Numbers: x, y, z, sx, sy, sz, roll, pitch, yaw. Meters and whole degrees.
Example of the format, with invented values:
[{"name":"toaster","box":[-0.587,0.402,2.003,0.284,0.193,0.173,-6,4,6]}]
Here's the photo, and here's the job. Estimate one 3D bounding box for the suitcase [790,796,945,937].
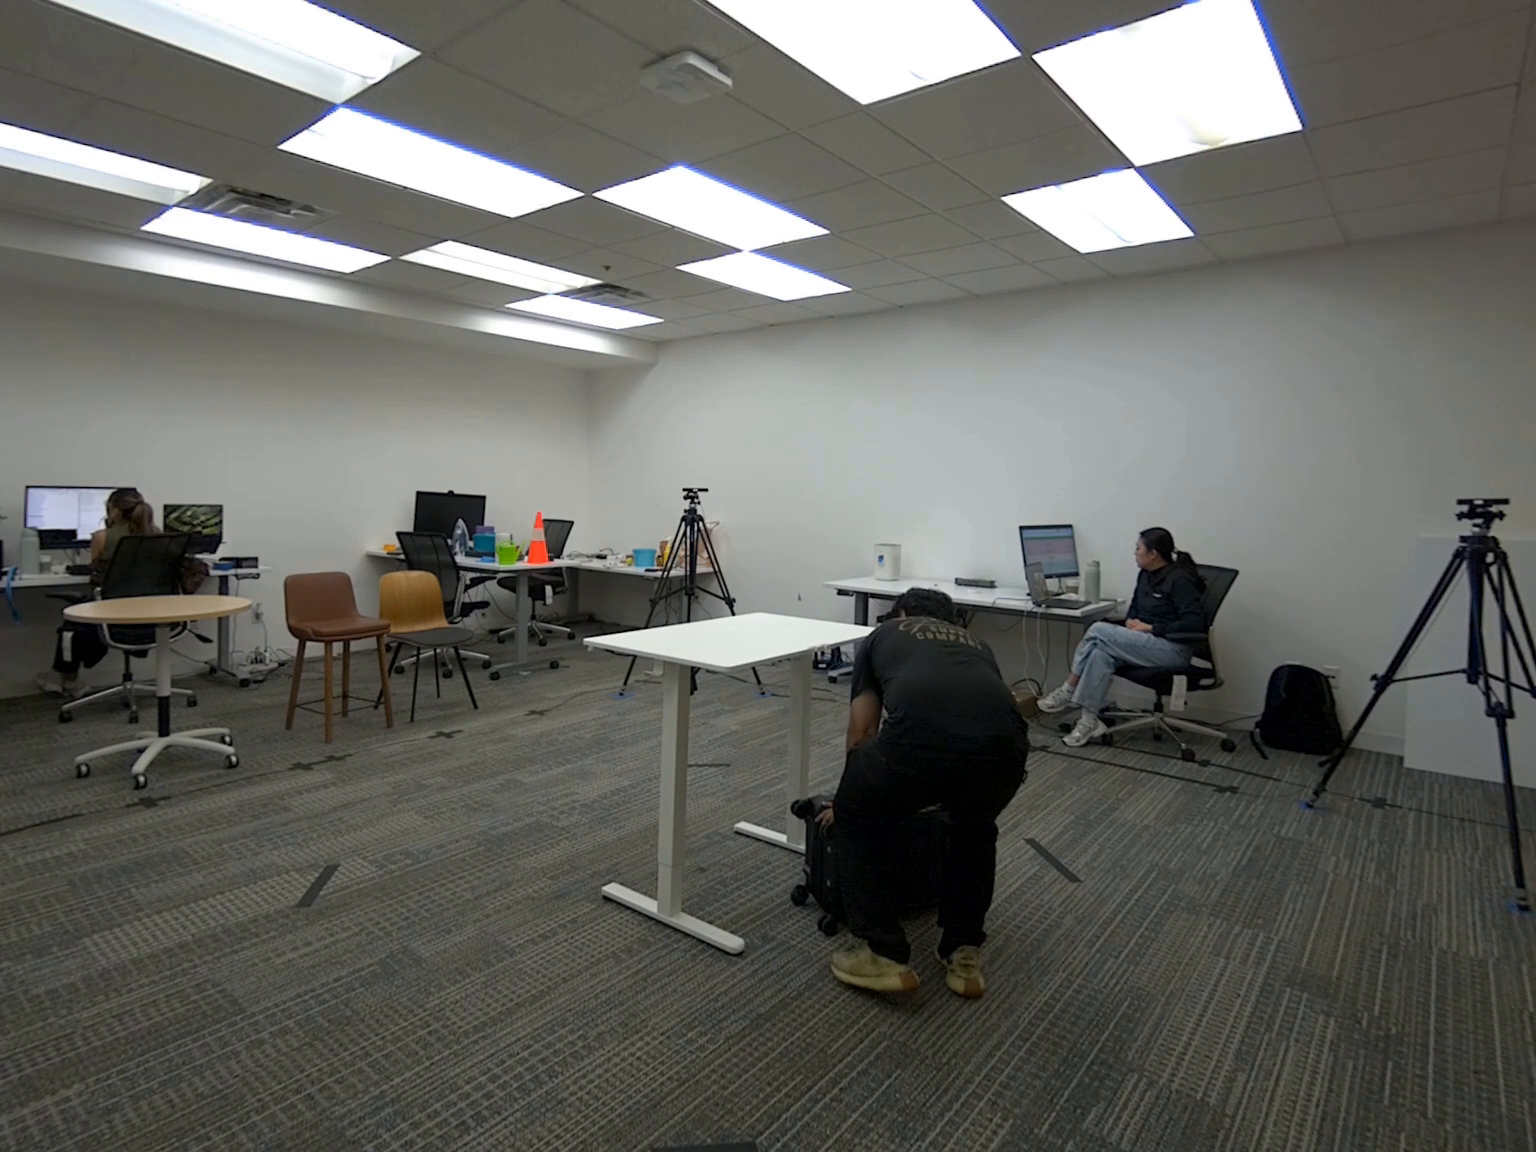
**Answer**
[{"name":"suitcase","box":[0.367,0.915,2.865,0.537,0.375,0.254,-1,1,-23]}]
